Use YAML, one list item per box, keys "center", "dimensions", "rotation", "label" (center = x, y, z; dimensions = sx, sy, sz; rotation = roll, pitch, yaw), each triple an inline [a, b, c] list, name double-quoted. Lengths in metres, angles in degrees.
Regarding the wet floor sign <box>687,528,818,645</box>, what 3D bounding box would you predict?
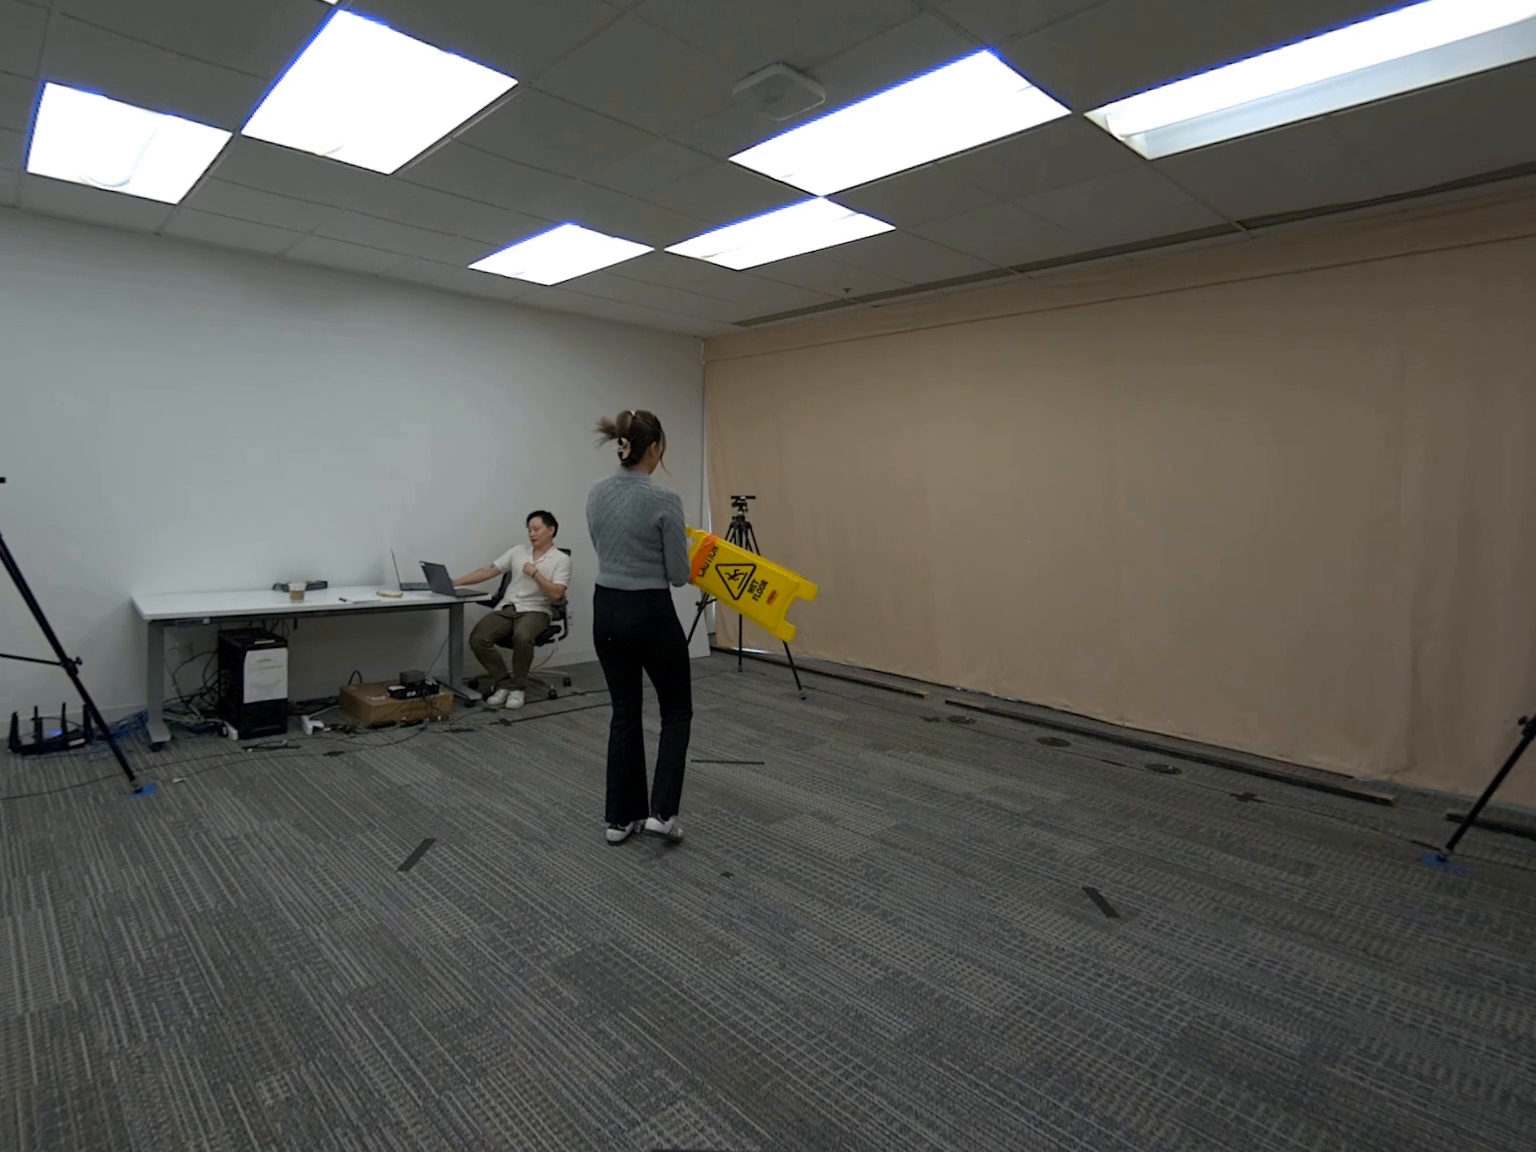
- center: [-0.151, 0.005, 3.739]
  dimensions: [0.641, 0.282, 0.292]
  rotation: [29, 3, -8]
  label: "wet floor sign"
